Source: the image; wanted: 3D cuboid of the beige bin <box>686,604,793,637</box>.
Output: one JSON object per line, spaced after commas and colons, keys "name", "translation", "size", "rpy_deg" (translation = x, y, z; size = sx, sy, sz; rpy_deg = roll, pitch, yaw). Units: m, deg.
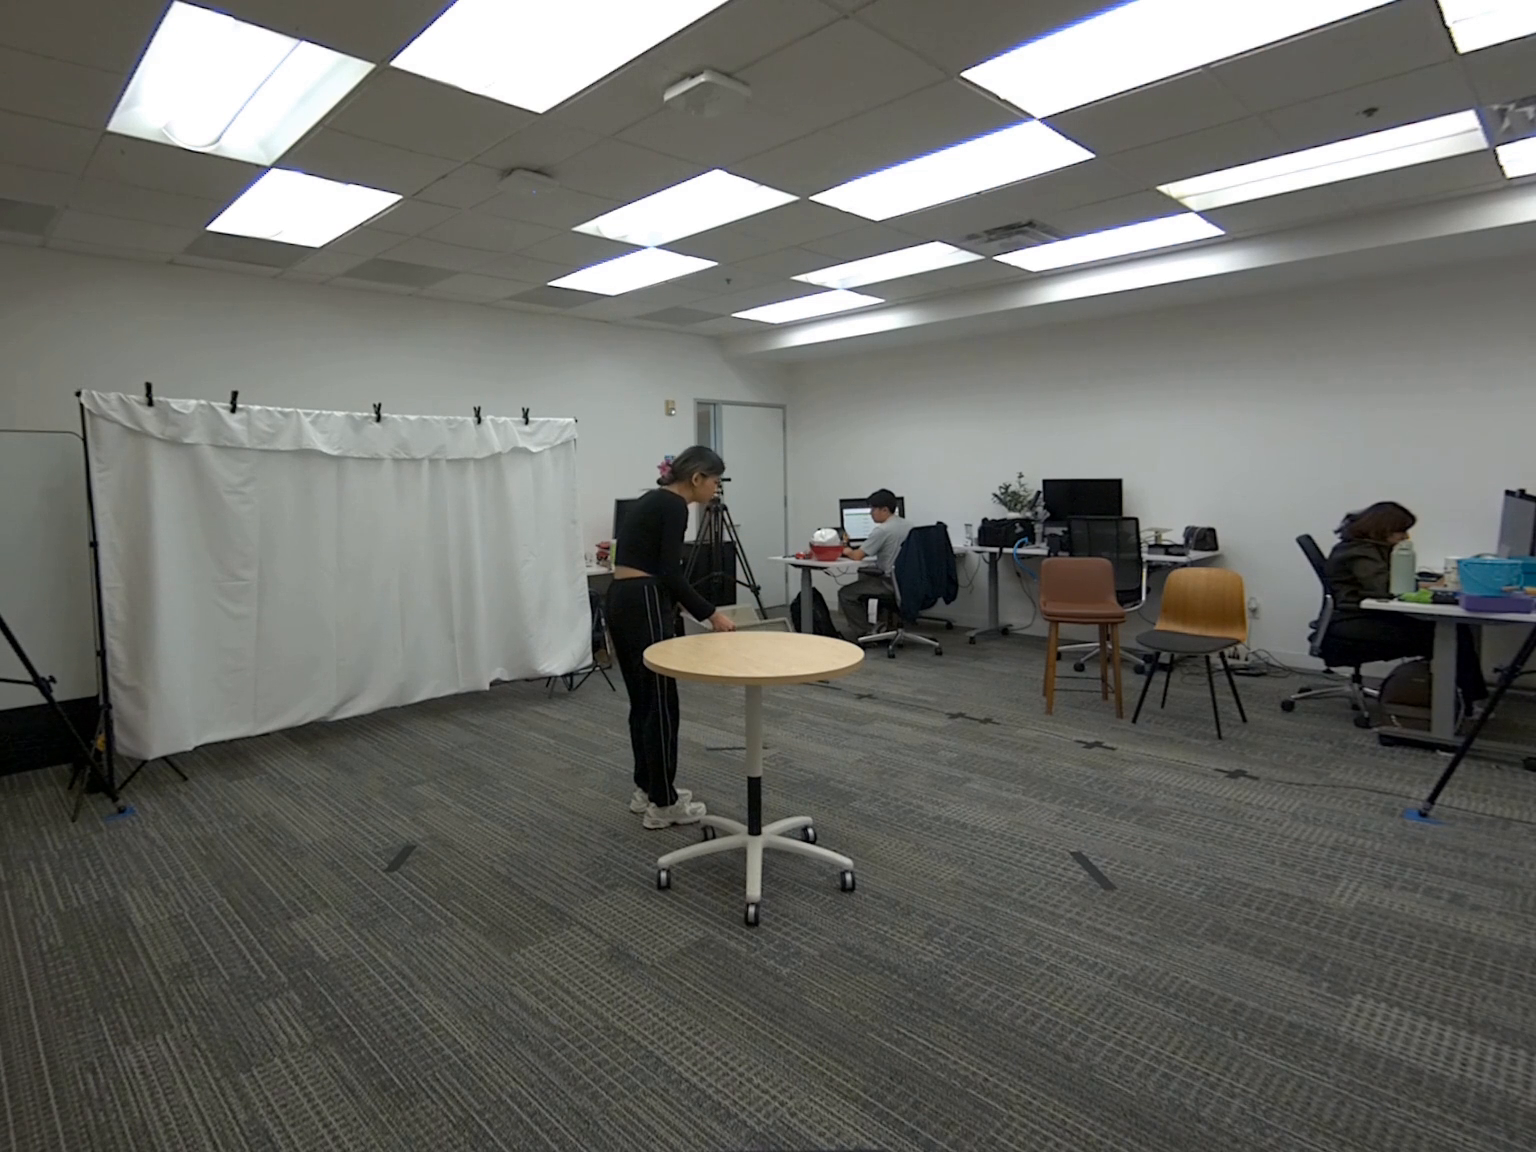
{"name": "beige bin", "translation": [-0.136, 0.254, 3.723], "size": [0.371, 0.187, 0.432], "rpy_deg": [-9, 9, -20]}
